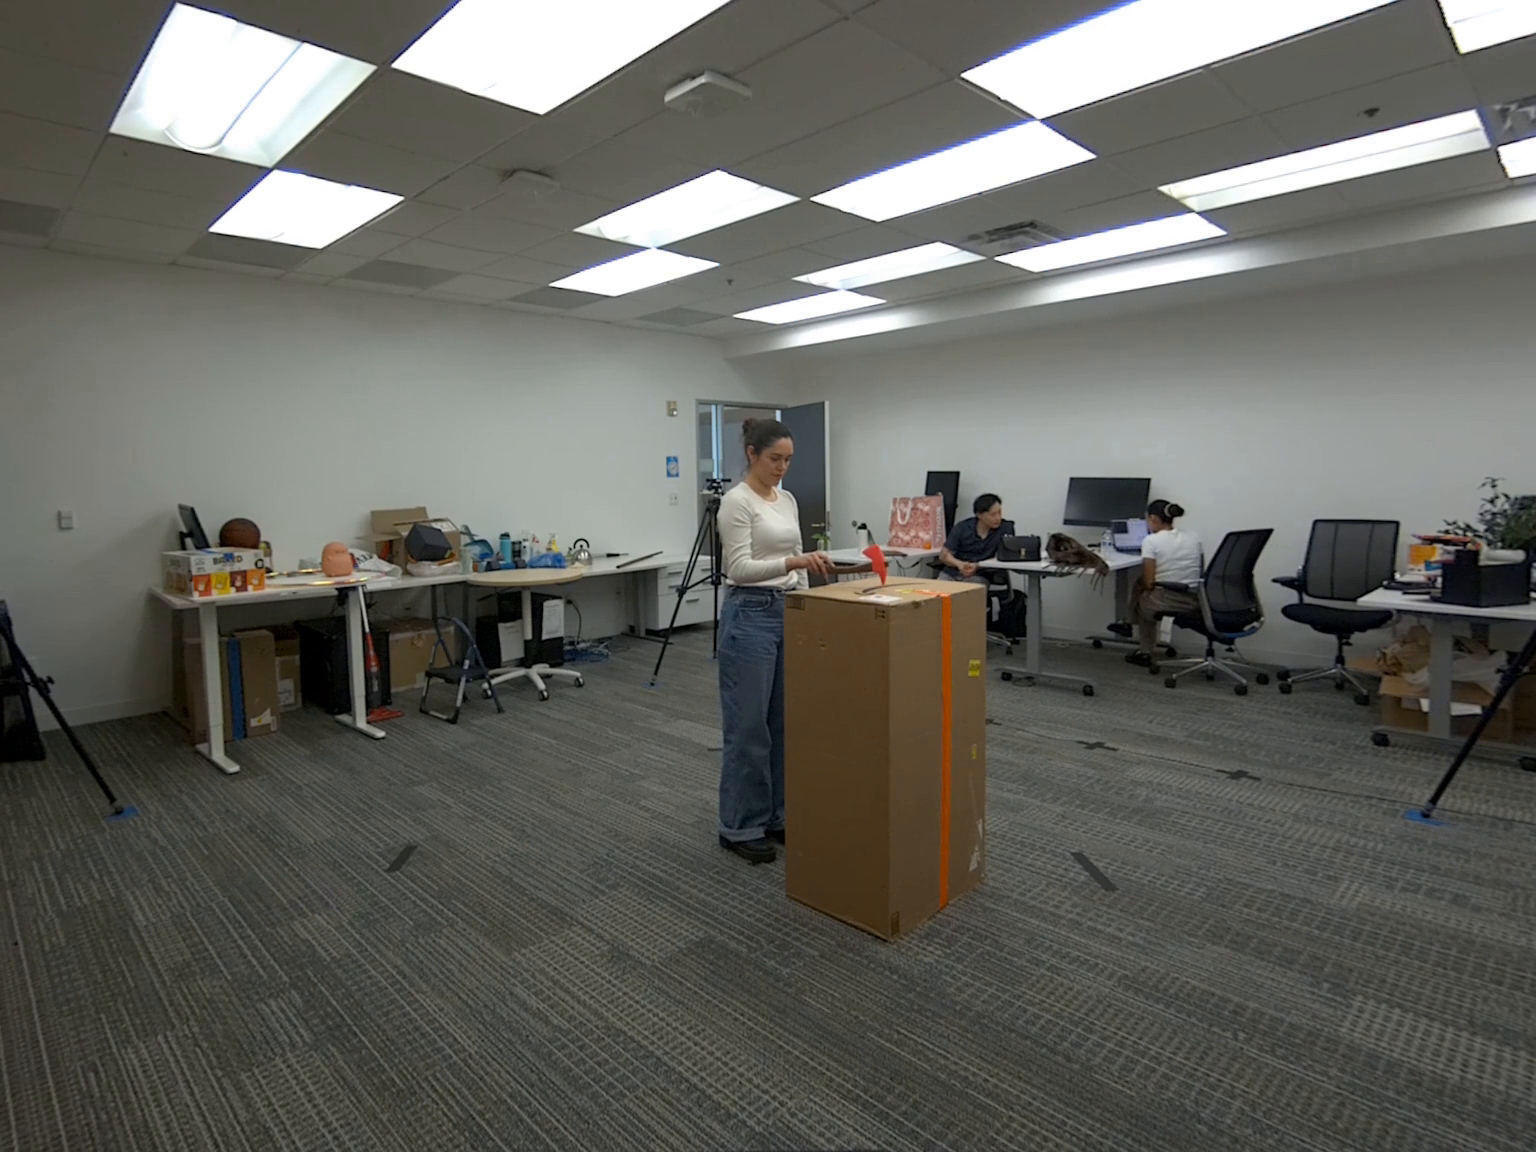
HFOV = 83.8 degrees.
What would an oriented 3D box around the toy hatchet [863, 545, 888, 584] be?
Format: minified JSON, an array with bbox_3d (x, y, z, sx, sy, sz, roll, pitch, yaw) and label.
[{"bbox_3d":[0.288,-0.055,2.896,0.277,0.130,0.029,9,11,25],"label":"toy hatchet"}]
